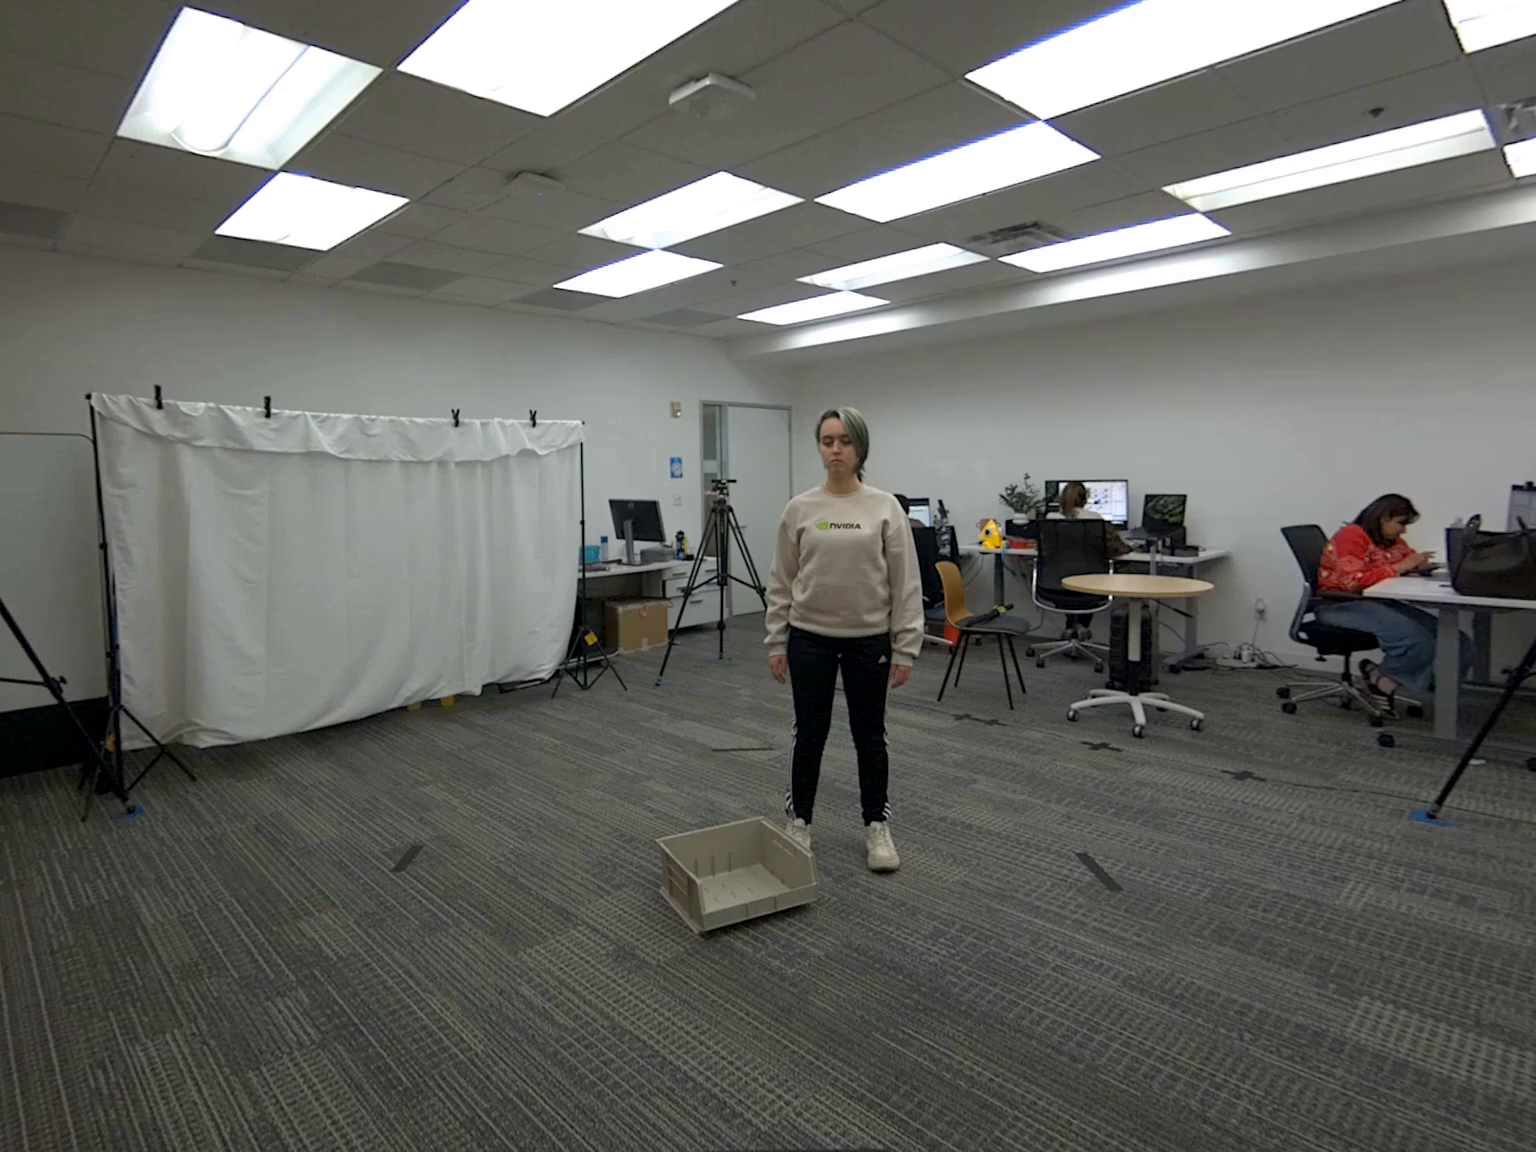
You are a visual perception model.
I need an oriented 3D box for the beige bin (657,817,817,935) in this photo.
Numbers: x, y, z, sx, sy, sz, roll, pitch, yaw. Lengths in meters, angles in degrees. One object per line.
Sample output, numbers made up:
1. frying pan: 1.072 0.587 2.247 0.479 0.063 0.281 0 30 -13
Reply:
1. beige bin: -0.105 0.993 2.832 0.413 0.188 0.387 -5 6 -28
